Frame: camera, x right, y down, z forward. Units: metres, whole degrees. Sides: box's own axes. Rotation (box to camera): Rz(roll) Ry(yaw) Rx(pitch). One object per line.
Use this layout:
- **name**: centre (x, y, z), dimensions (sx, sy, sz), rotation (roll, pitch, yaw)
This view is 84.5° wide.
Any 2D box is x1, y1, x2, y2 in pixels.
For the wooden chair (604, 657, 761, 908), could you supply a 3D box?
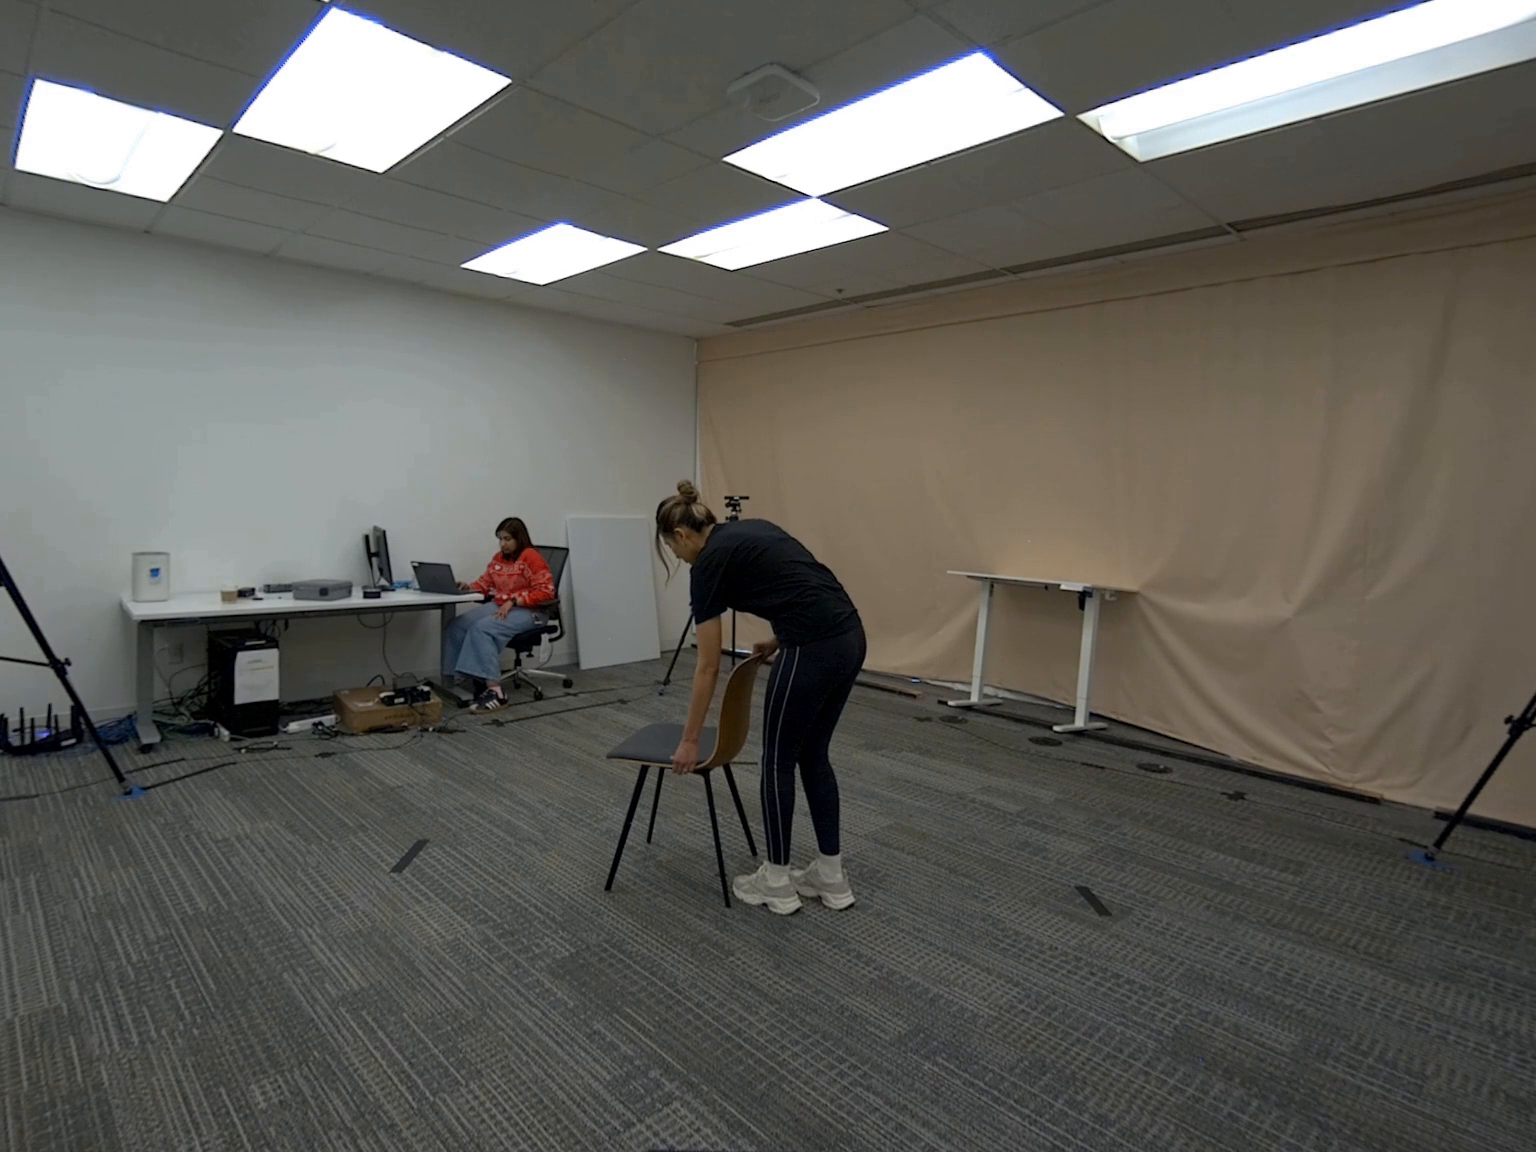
- **wooden chair**: centre (-0.310, 0.673, 3.087), dimensions (0.529, 0.874, 0.474), rotation (6, 5, 13)
